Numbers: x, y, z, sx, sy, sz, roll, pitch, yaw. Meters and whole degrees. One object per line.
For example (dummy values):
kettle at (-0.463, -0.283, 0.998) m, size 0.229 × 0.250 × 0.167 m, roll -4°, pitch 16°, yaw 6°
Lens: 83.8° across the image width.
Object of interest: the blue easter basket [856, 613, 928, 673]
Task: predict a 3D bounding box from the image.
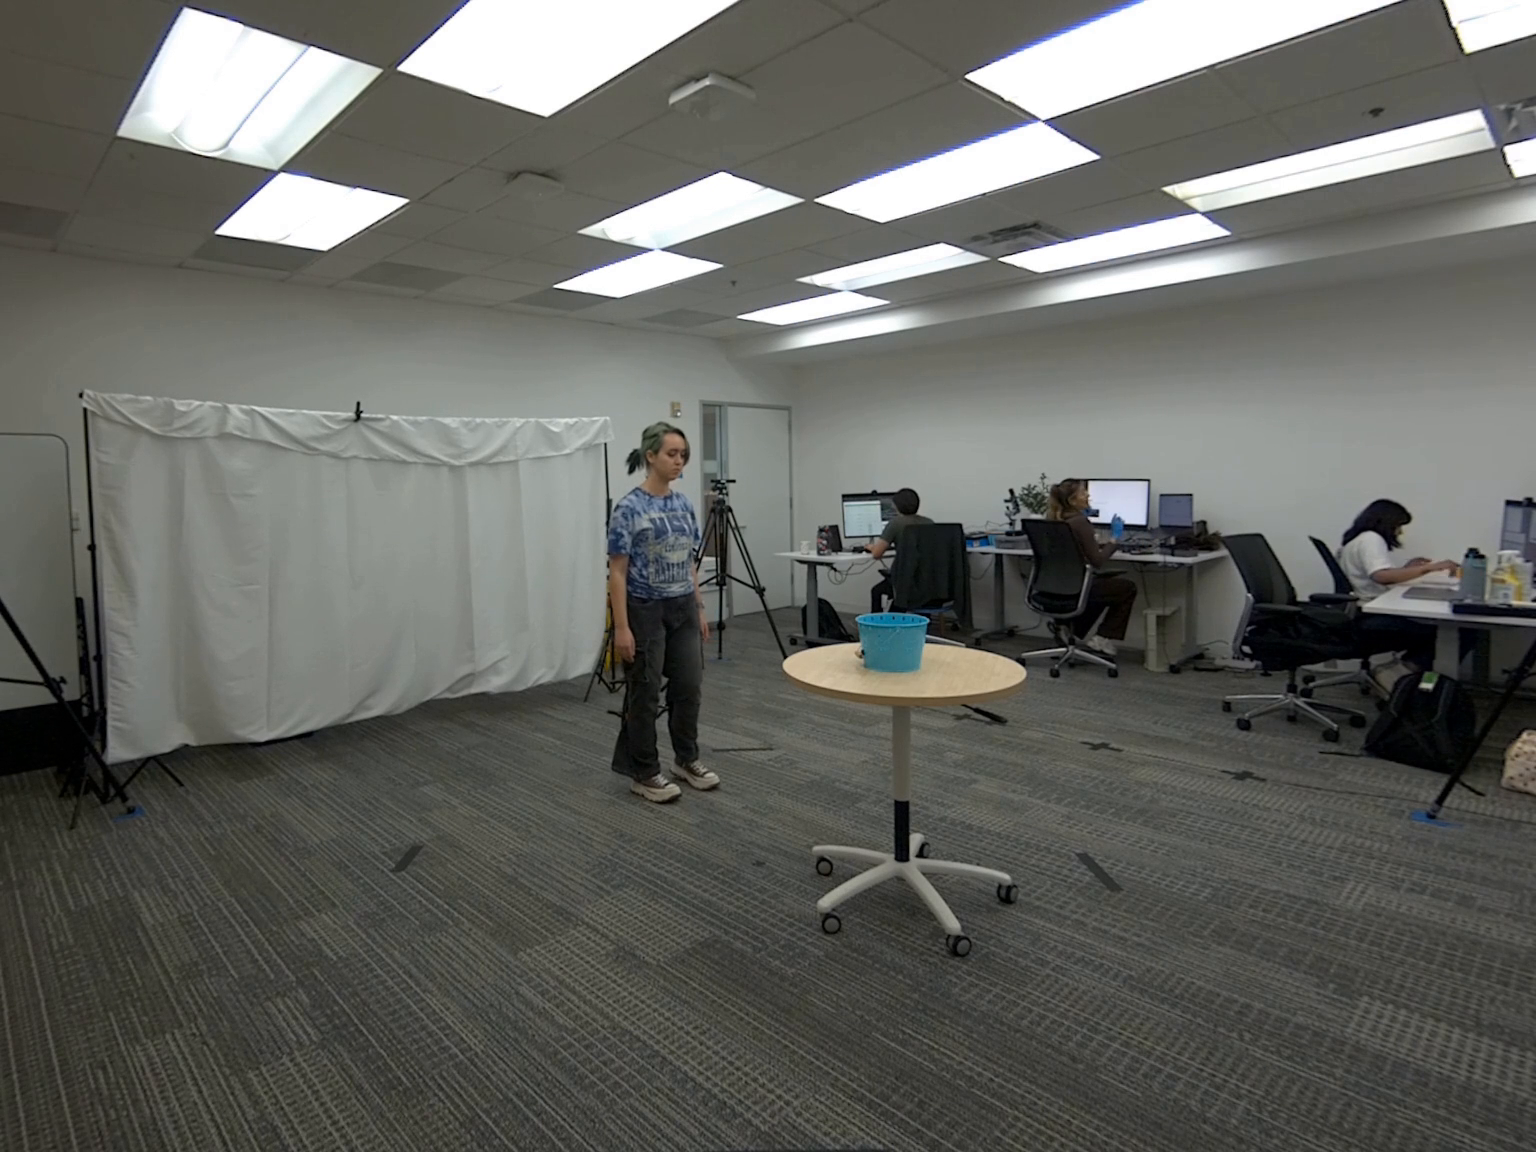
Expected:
blue easter basket at (0.408, 0.218, 2.762) m, size 0.243 × 0.155 × 0.245 m, roll -1°, pitch 6°, yaw -2°
